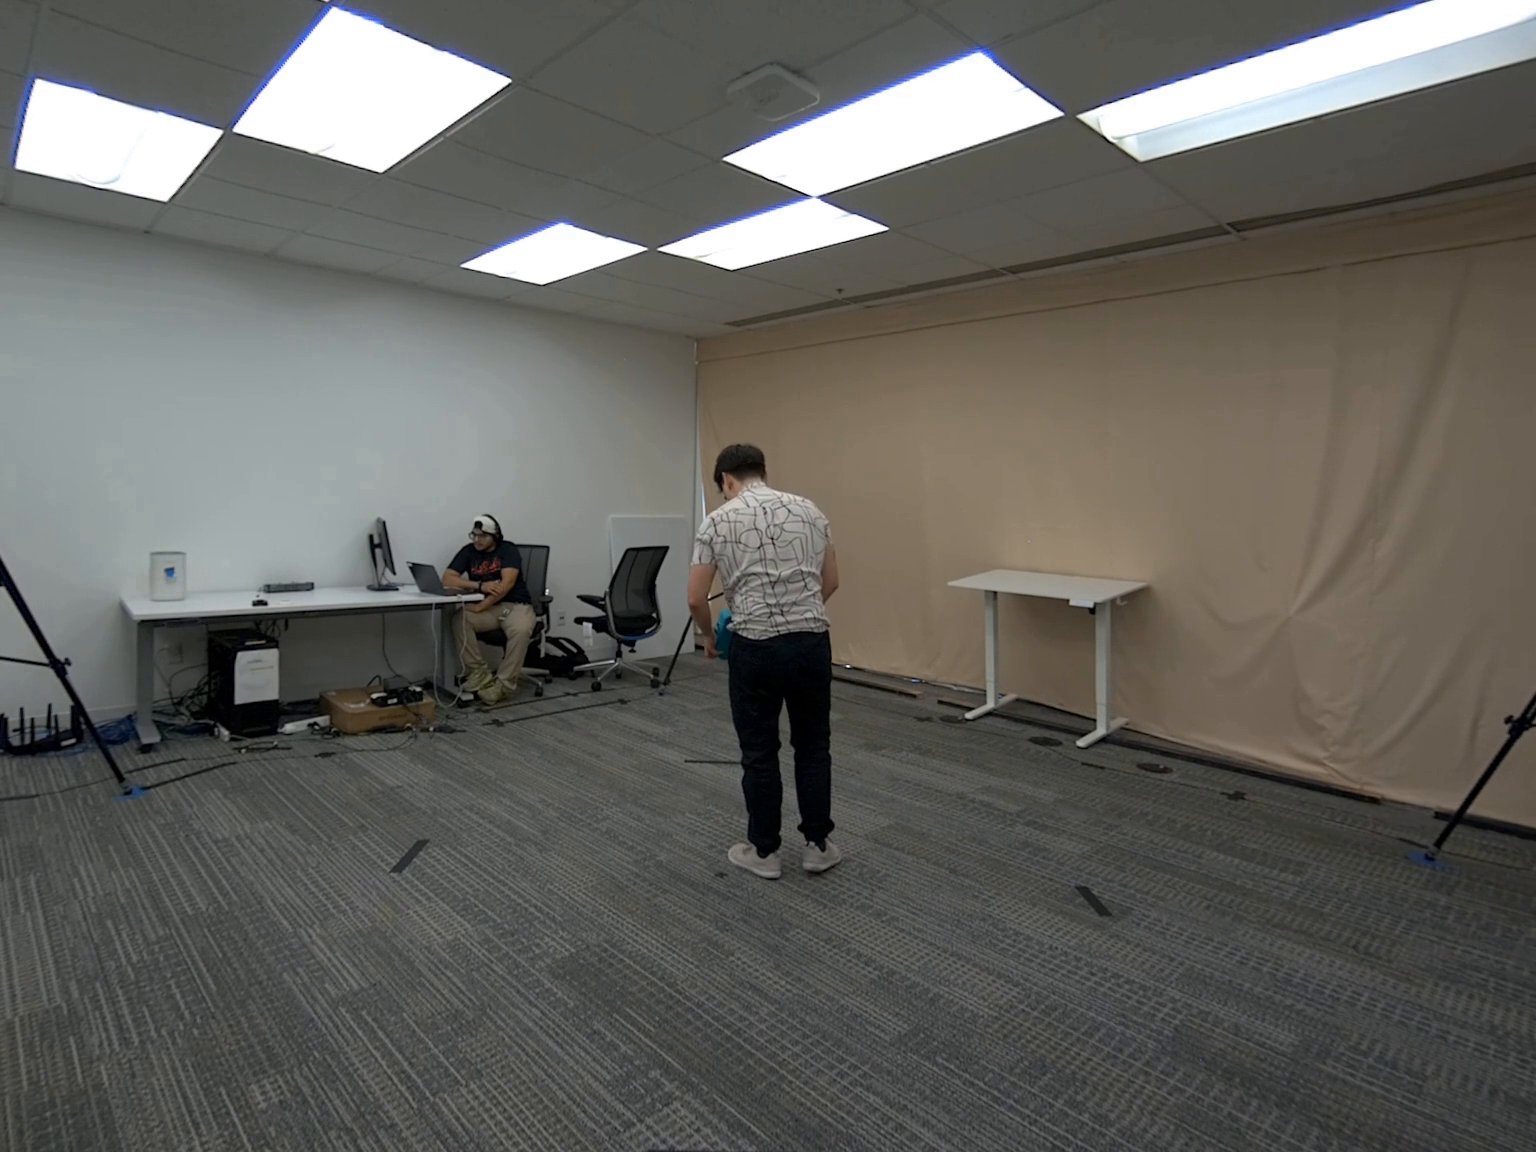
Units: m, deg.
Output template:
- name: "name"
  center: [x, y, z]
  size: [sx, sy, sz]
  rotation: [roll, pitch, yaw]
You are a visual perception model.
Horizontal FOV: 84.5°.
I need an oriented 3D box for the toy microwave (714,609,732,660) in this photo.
- name: "toy microwave"
  center: [-0.072, 0.262, 3.402]
  size: [0.283, 0.183, 0.155]
  rotation: [14, 7, -13]
